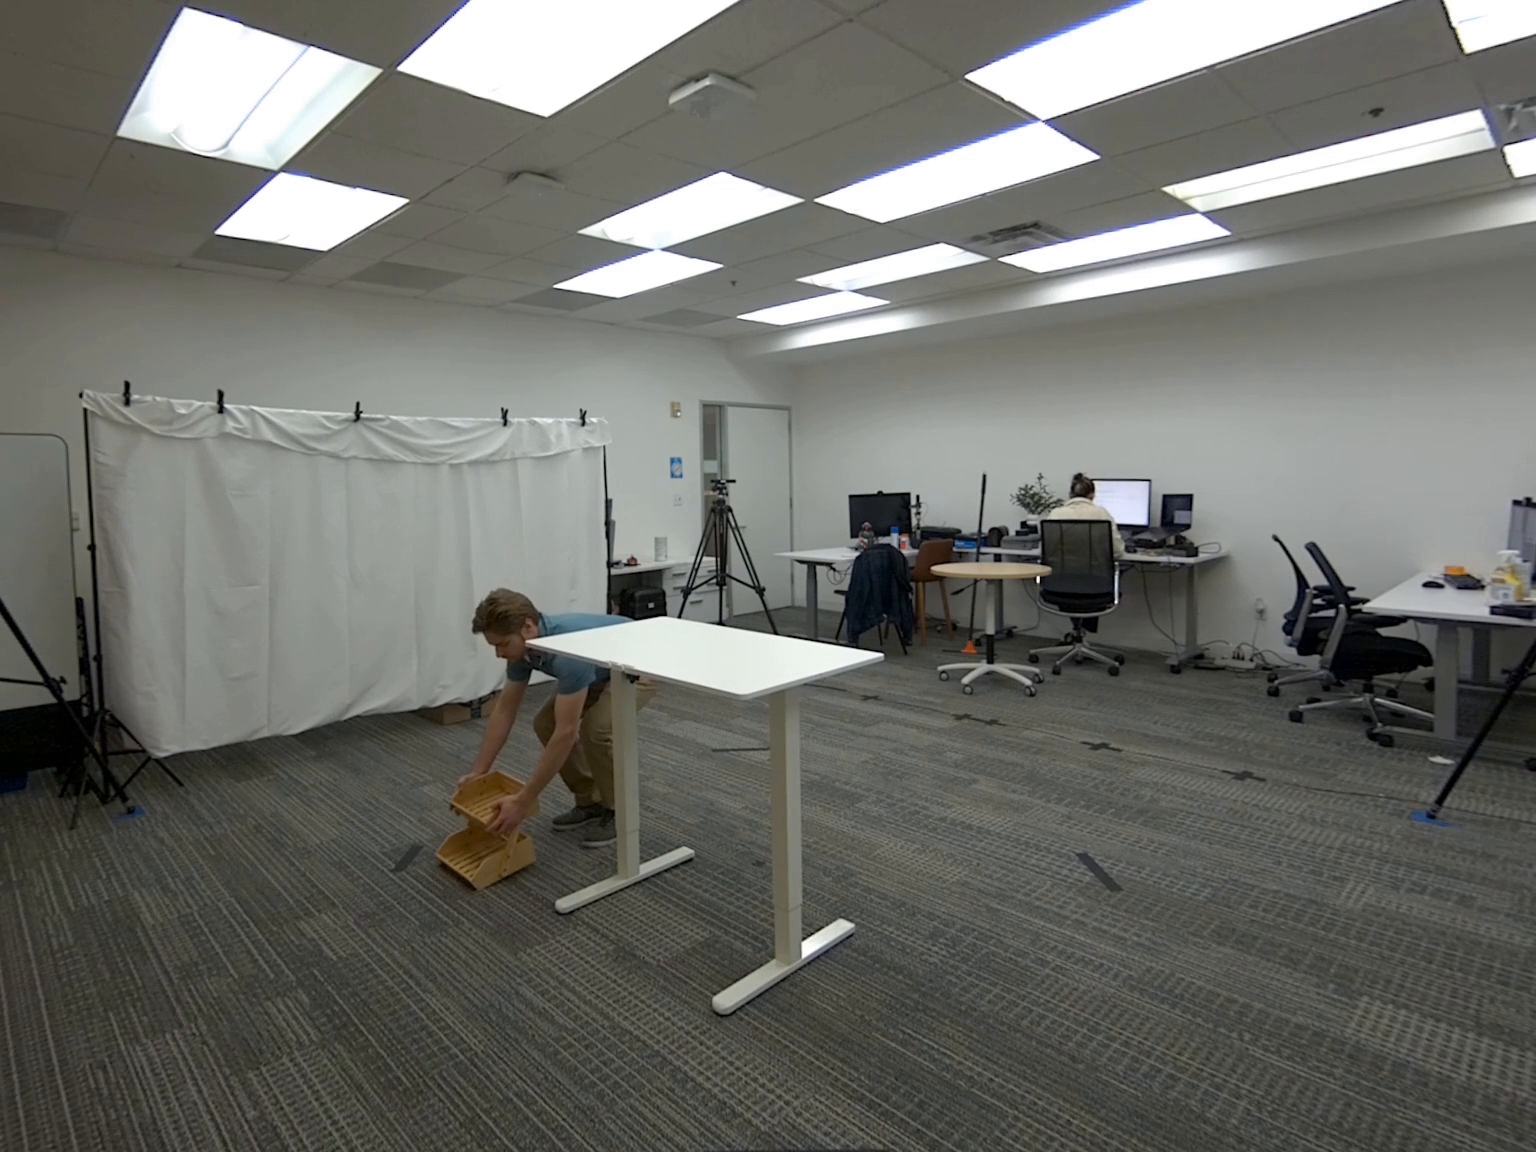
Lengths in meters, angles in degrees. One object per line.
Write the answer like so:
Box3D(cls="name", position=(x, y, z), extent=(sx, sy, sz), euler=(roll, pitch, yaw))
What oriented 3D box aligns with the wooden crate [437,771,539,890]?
Box3D(cls="wooden crate", position=(-1.037, 0.916, 3.124), extent=(0.295, 0.271, 0.334), euler=(-14, 13, -41))
